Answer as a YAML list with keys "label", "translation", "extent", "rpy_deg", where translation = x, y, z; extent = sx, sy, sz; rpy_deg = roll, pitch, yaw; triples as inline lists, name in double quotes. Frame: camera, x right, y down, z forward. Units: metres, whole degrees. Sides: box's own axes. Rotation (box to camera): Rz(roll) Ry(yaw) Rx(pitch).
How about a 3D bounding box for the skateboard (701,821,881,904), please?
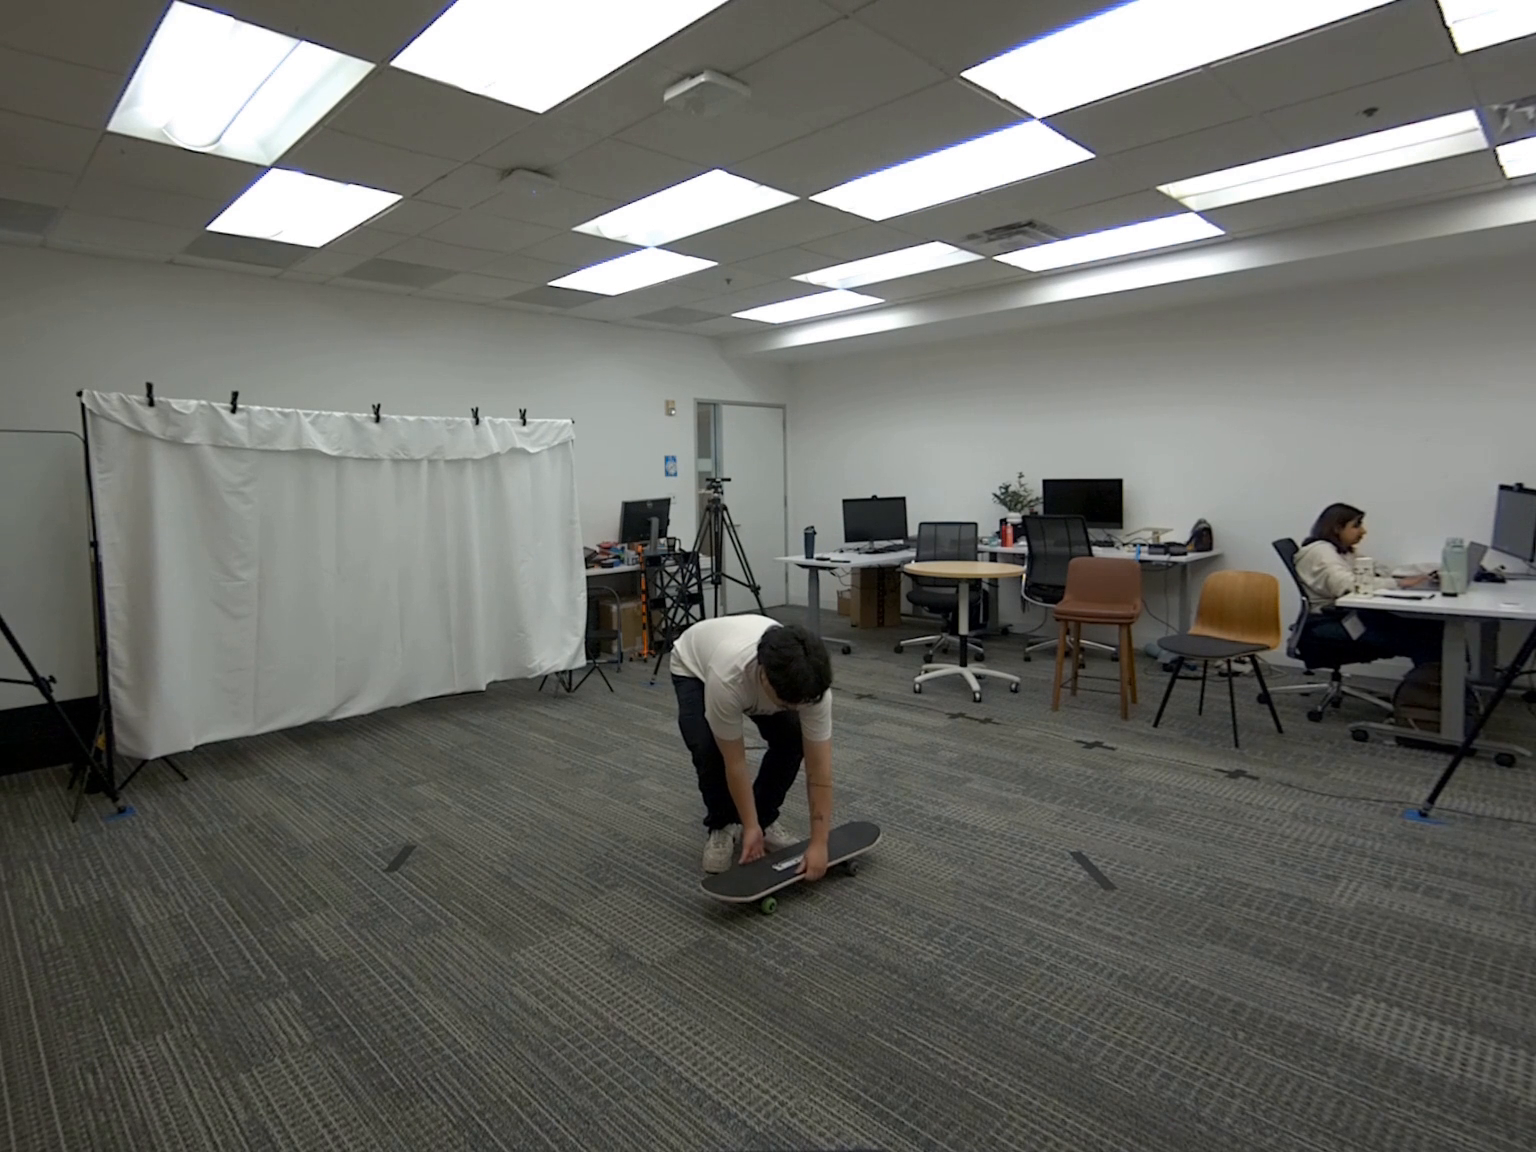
- label: "skateboard"
  translation: [0.102, 0.998, 2.932]
  extent: [0.765, 0.110, 0.199]
  rpy_deg: [-7, 9, -41]
